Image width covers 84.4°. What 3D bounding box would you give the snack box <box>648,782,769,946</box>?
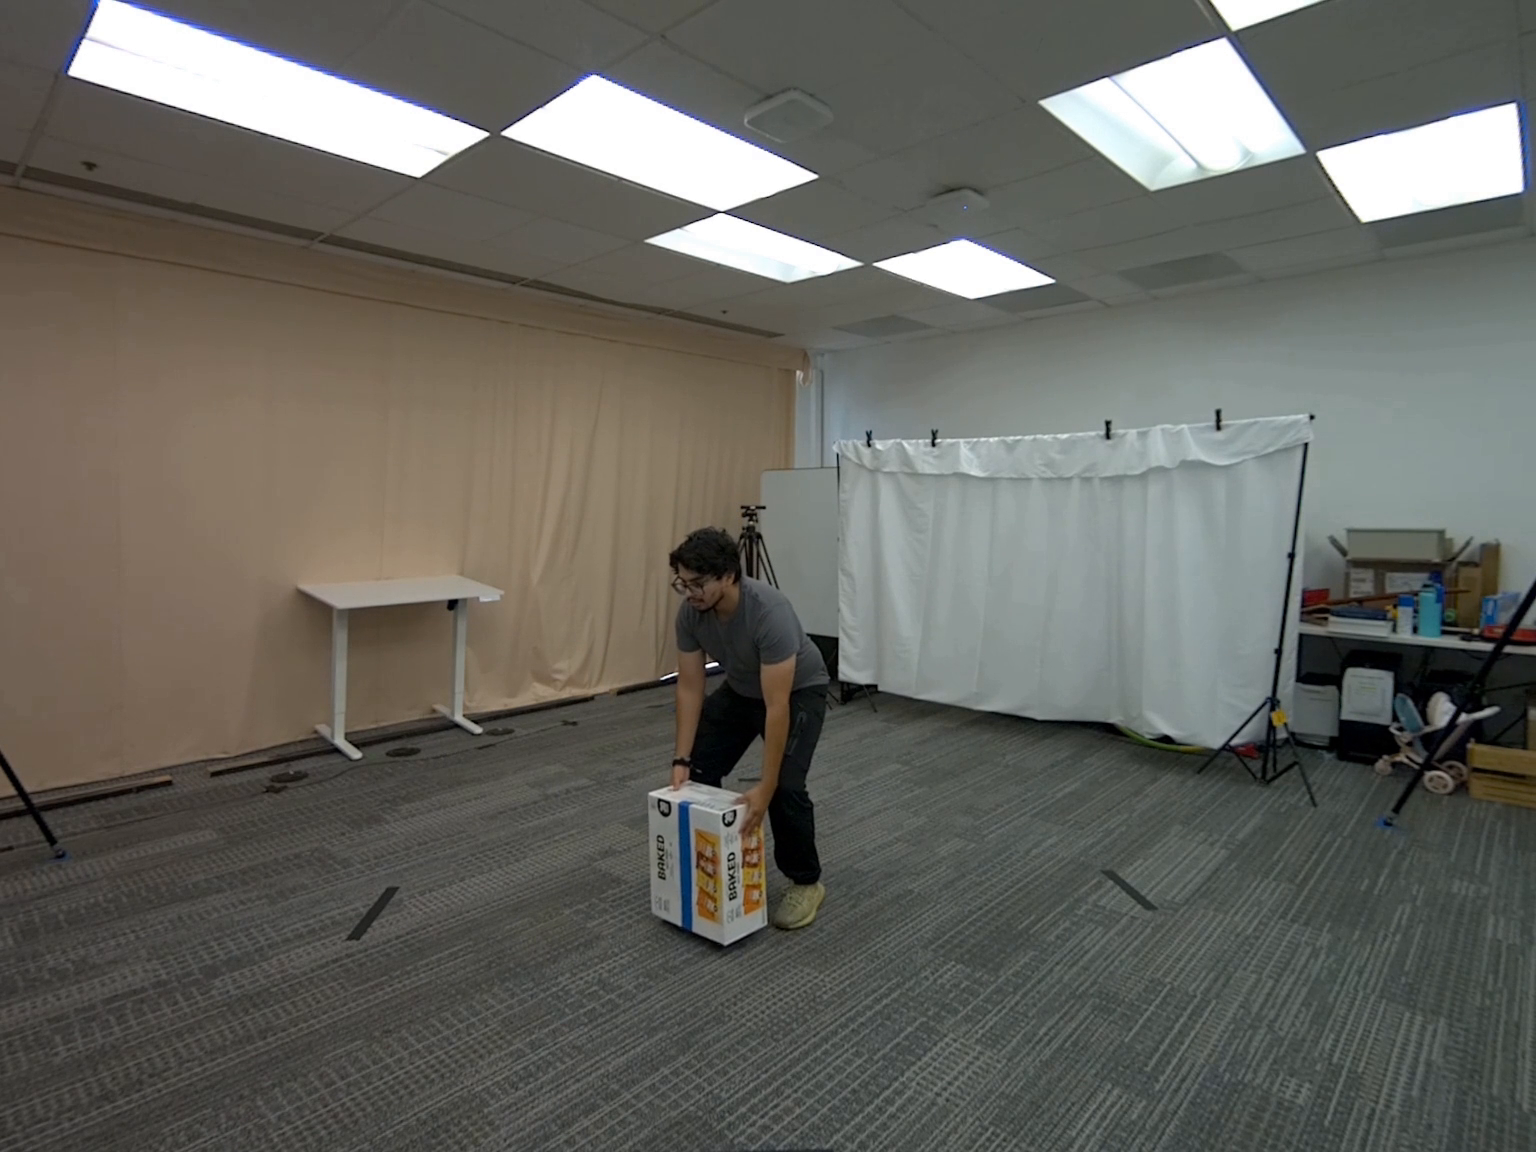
[{"bbox_3d":[-0.199,0.928,2.759,0.351,0.405,0.199,-1,1,42],"label":"snack box"}]
